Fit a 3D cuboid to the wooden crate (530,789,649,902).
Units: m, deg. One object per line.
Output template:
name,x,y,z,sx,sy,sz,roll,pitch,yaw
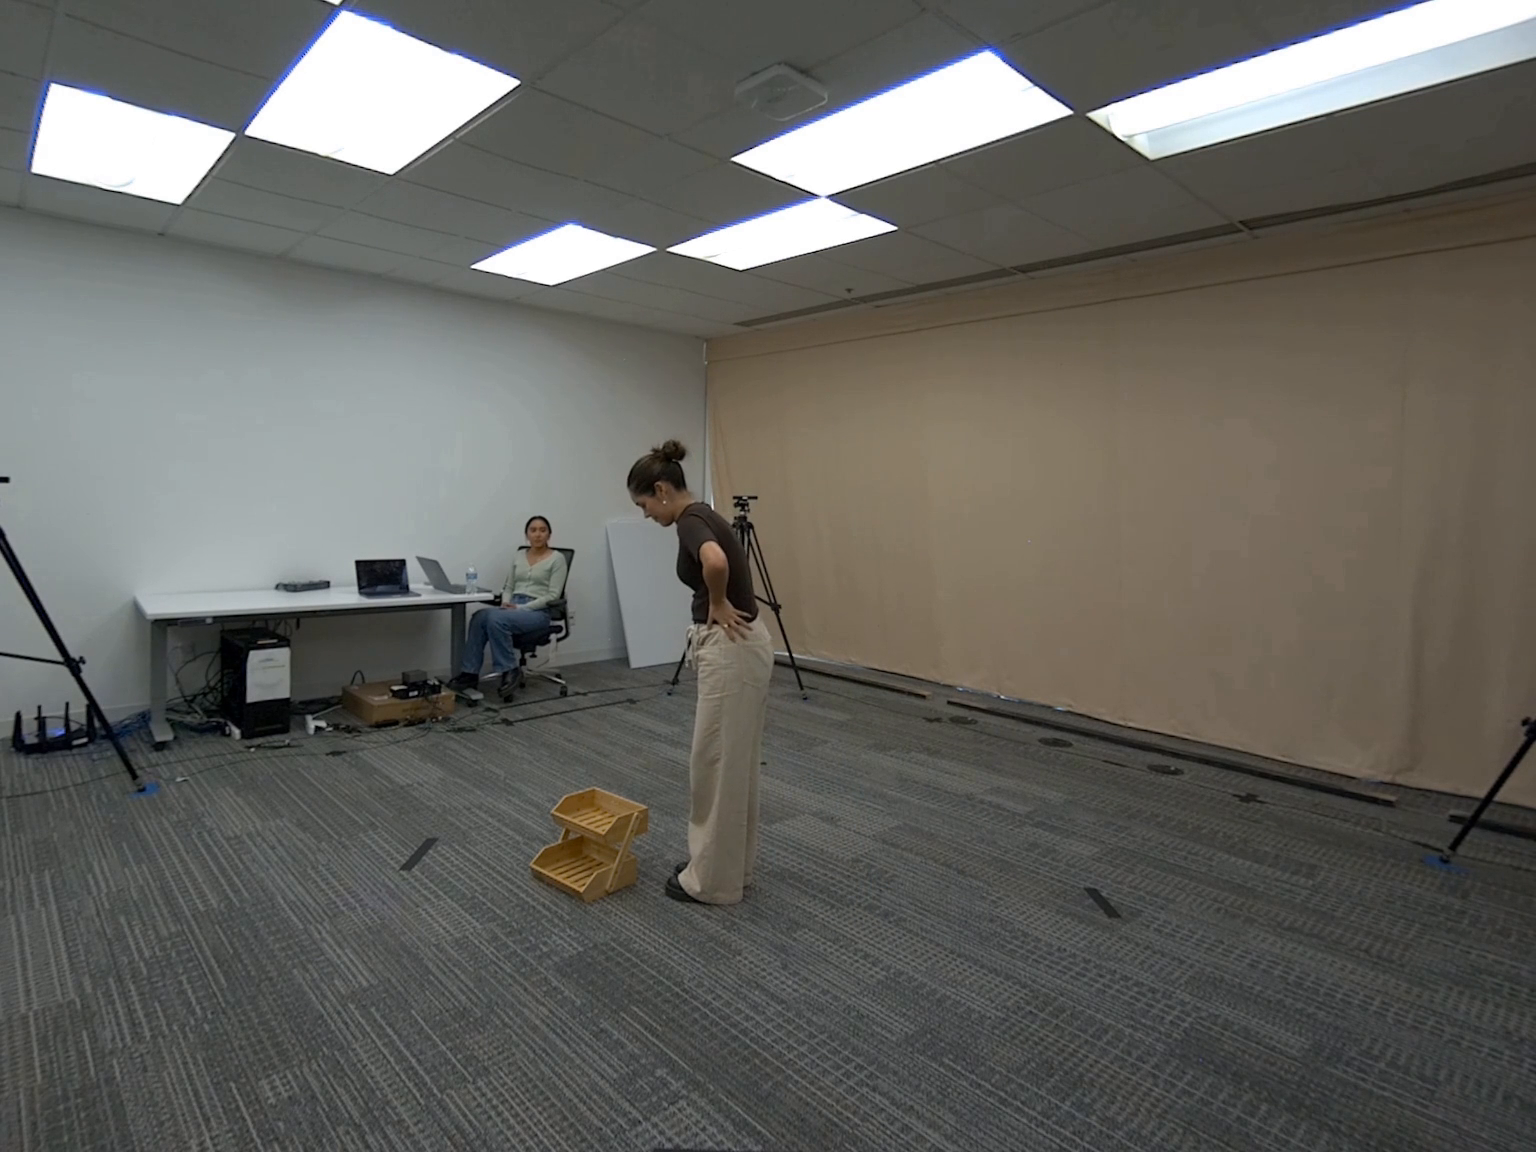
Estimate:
wooden crate,-0.650,0.957,3.048,0.333,0.273,0.295,5,5,39
